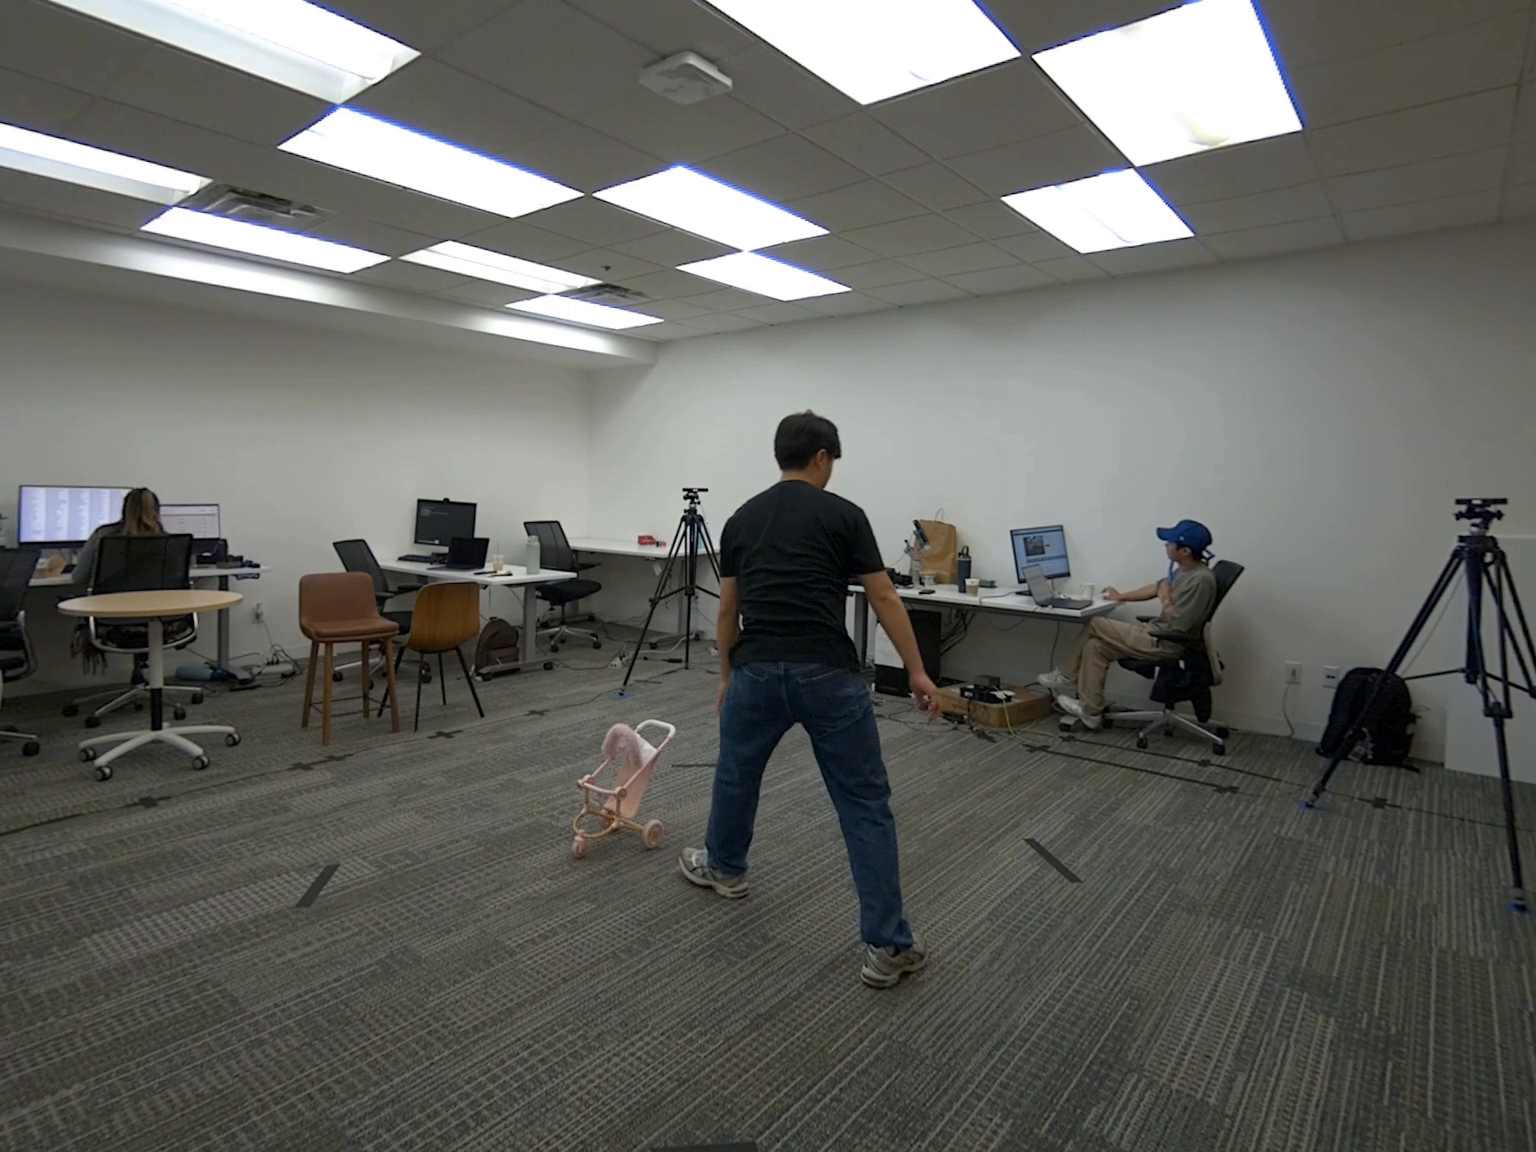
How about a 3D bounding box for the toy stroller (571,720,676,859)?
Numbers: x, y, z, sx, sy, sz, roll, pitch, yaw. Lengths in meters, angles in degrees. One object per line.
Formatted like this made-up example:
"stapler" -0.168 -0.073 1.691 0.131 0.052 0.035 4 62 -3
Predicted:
"toy stroller" -0.594 0.817 3.318 0.291 0.538 0.328 4 -10 46
